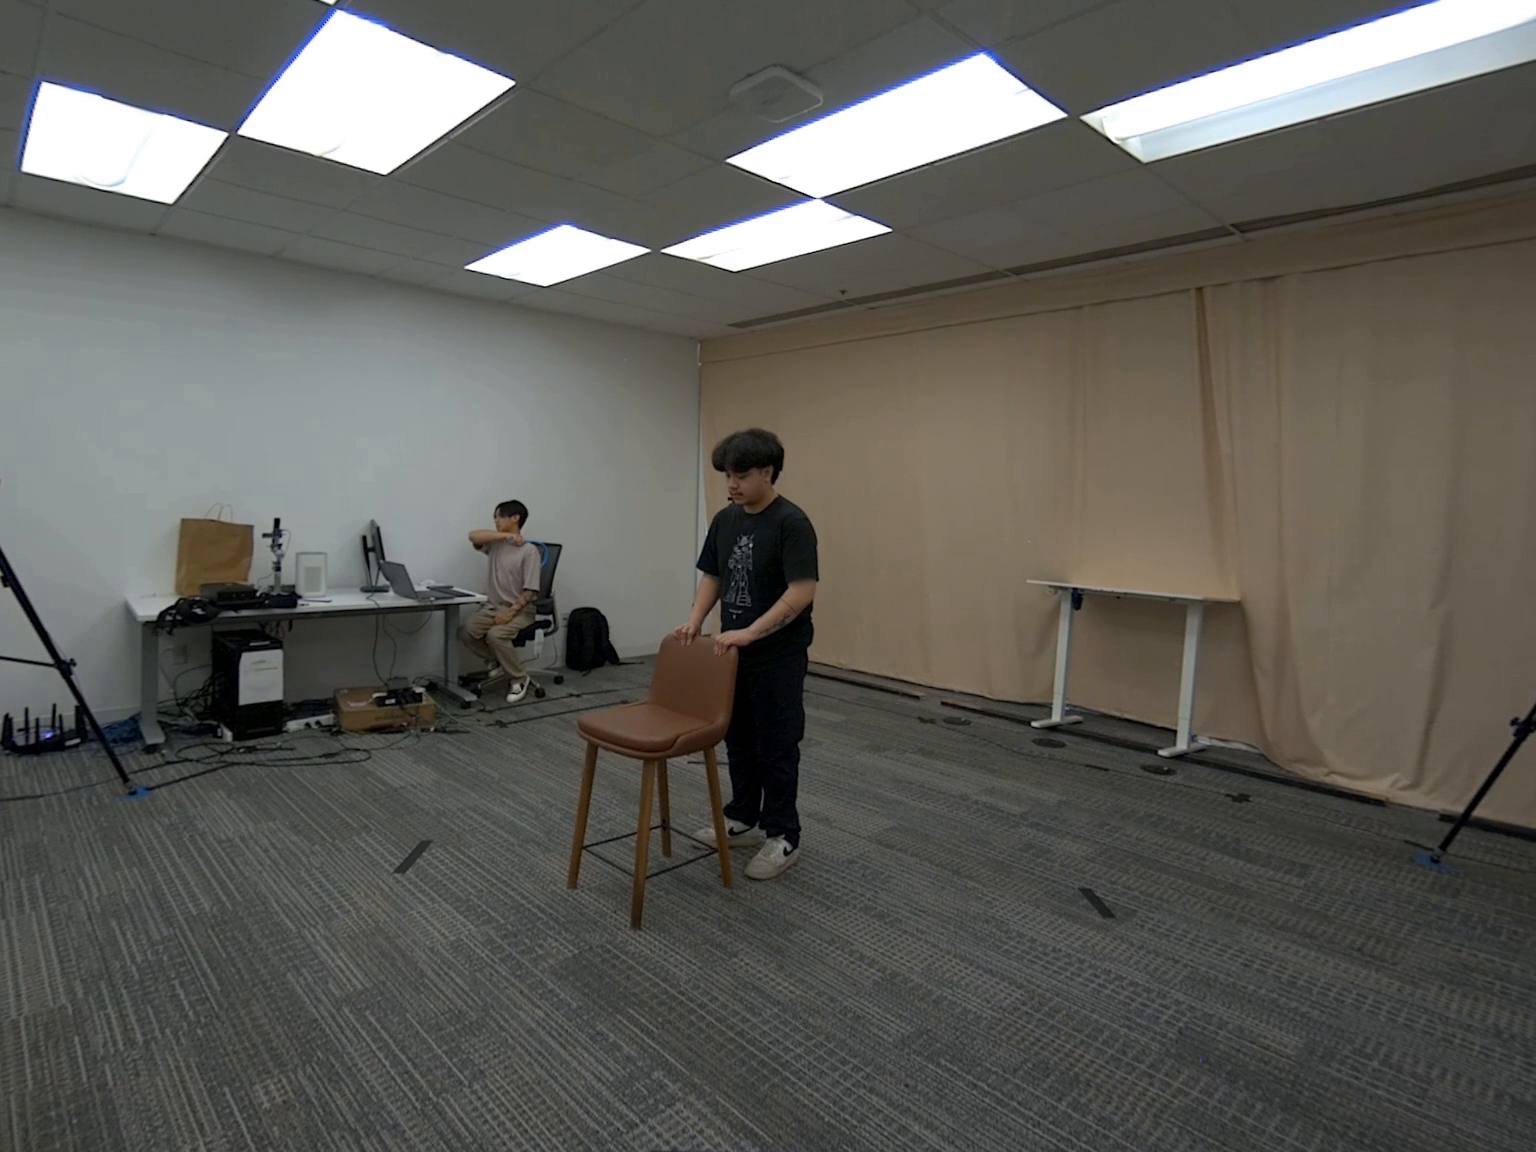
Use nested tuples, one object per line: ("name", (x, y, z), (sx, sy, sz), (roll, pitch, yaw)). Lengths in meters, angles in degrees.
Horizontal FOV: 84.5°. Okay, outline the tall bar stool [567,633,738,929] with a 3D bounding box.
("tall bar stool", (-0.401, 0.675, 2.976), (0.456, 0.889, 0.468), (1, 2, -44))
